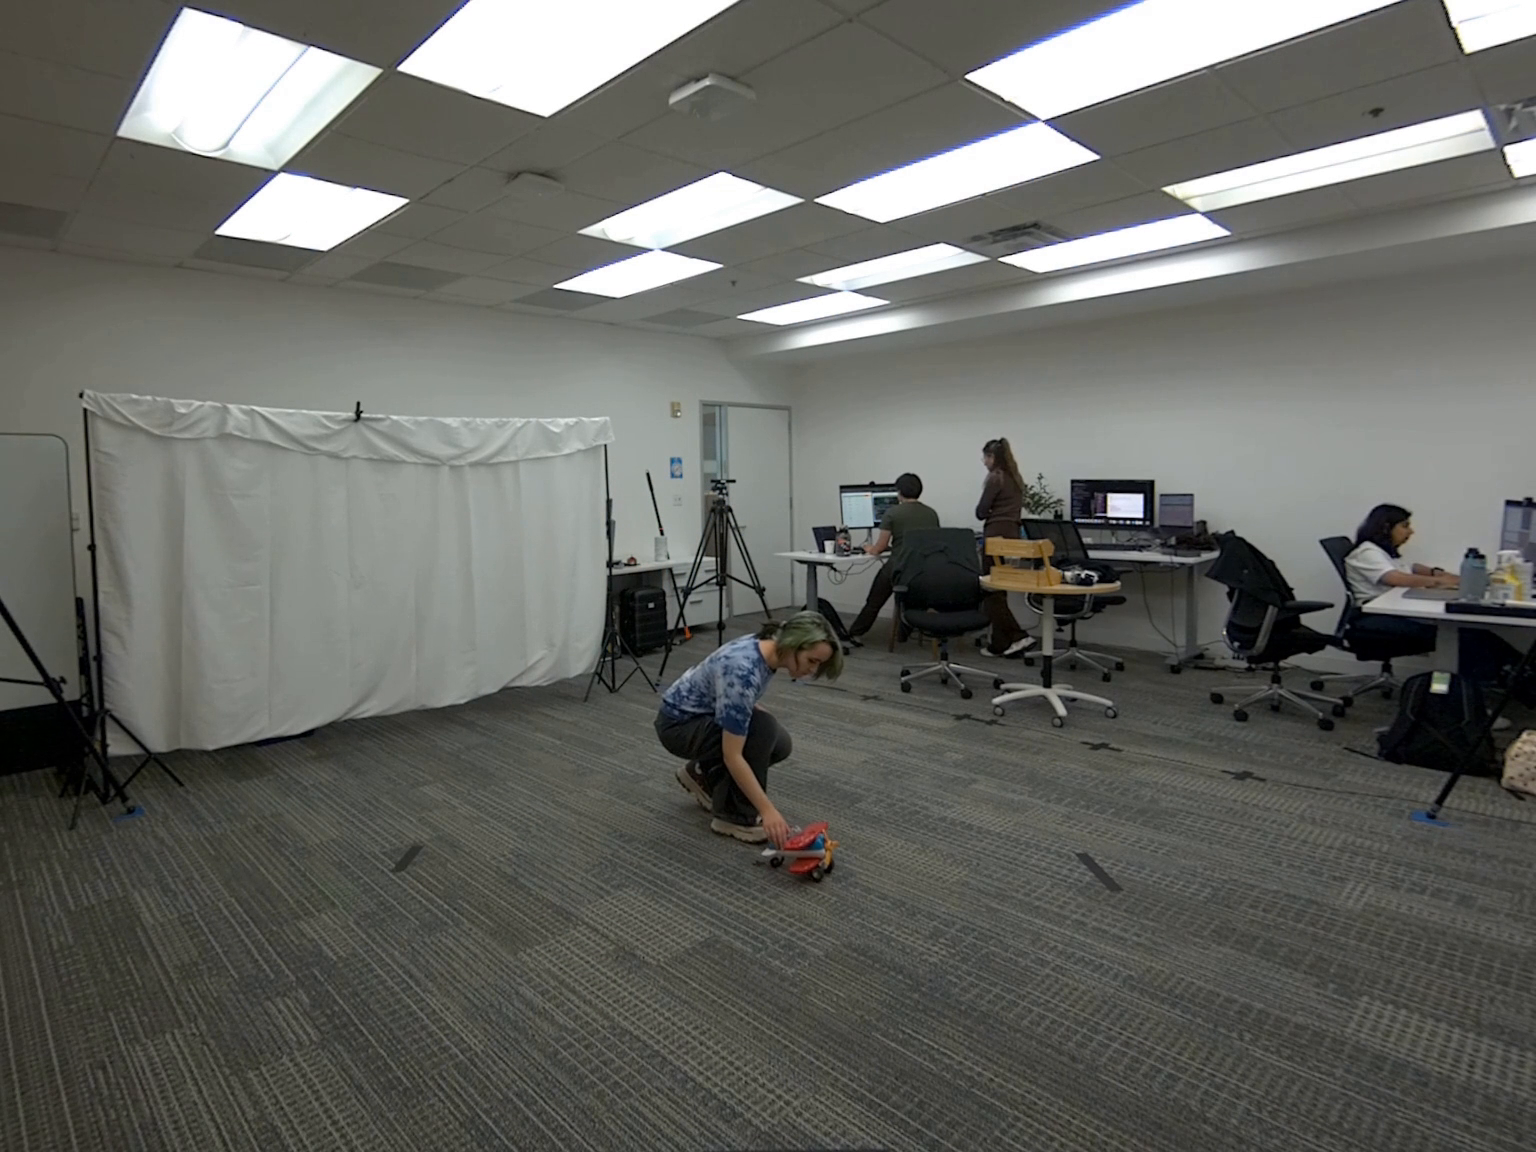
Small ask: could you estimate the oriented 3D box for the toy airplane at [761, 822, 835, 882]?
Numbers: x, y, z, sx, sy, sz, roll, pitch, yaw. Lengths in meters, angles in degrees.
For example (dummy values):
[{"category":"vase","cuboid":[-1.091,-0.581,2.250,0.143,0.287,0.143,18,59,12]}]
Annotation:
[{"category":"toy airplane","cuboid":[0.109,0.979,3.022,0.260,0.156,0.251,1,4,1]}]
